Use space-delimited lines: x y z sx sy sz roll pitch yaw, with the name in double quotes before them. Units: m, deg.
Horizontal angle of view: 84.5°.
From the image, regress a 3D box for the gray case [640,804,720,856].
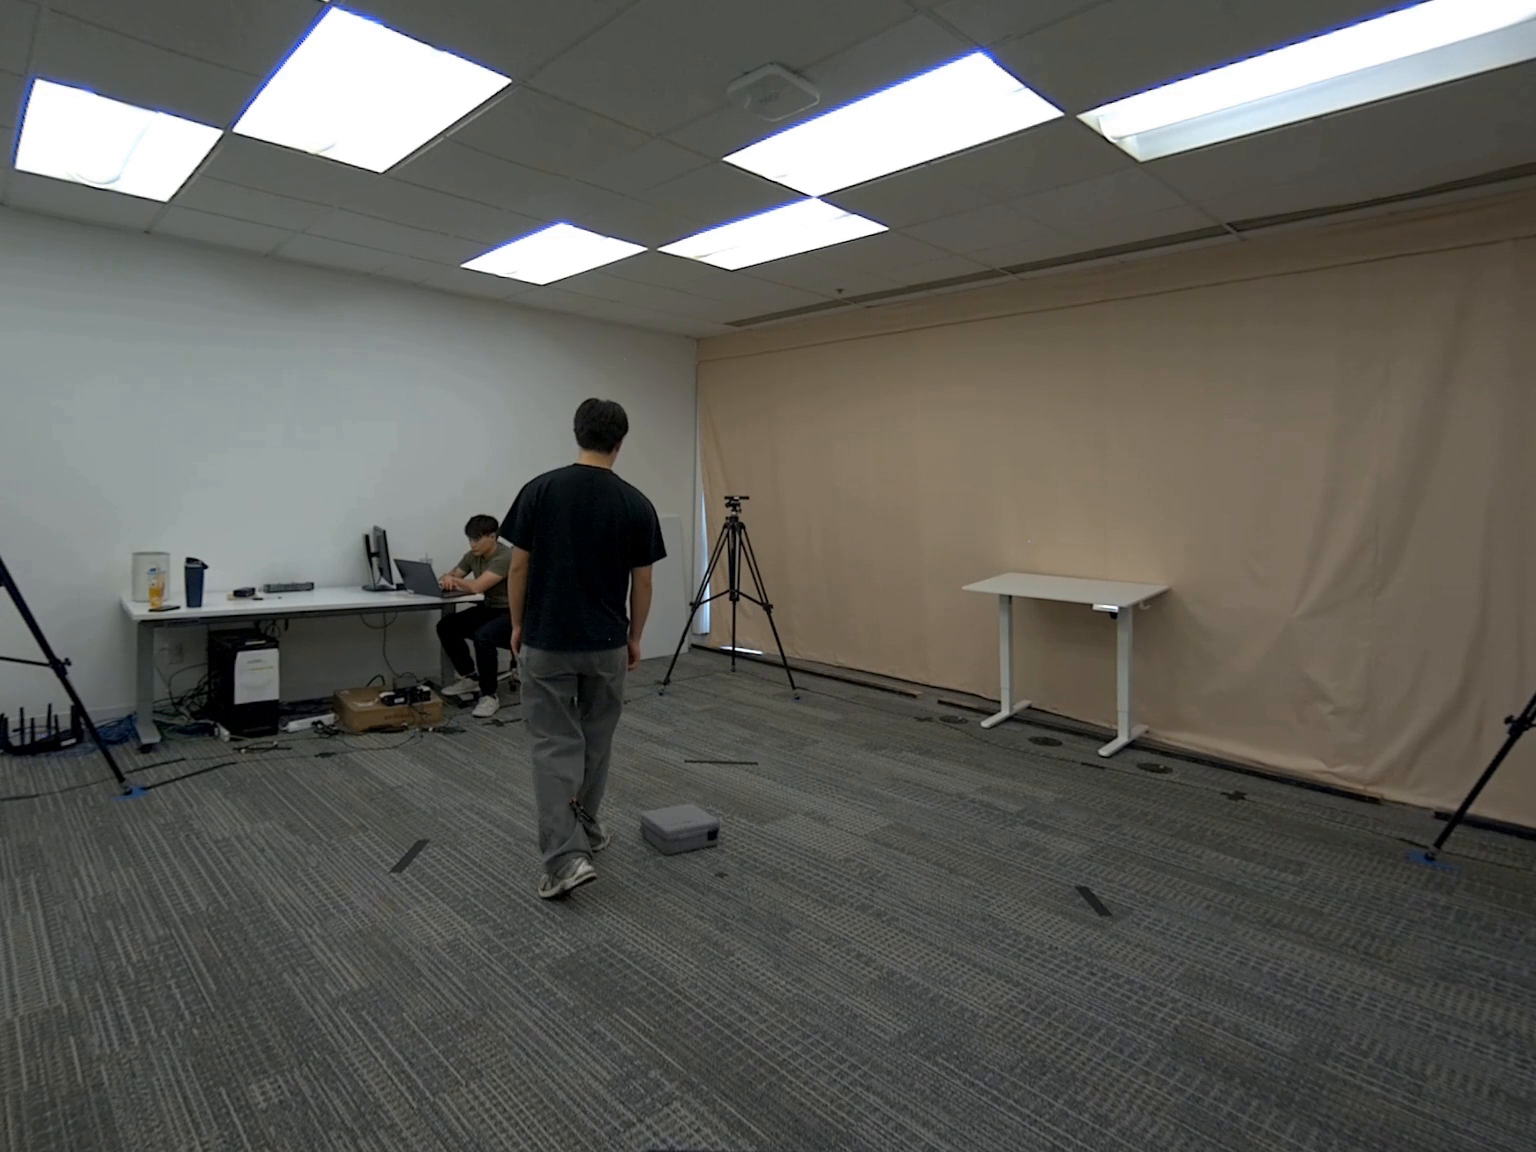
"gray case" -0.374 1.018 3.414 0.258 0.103 0.294 -2 6 -31
